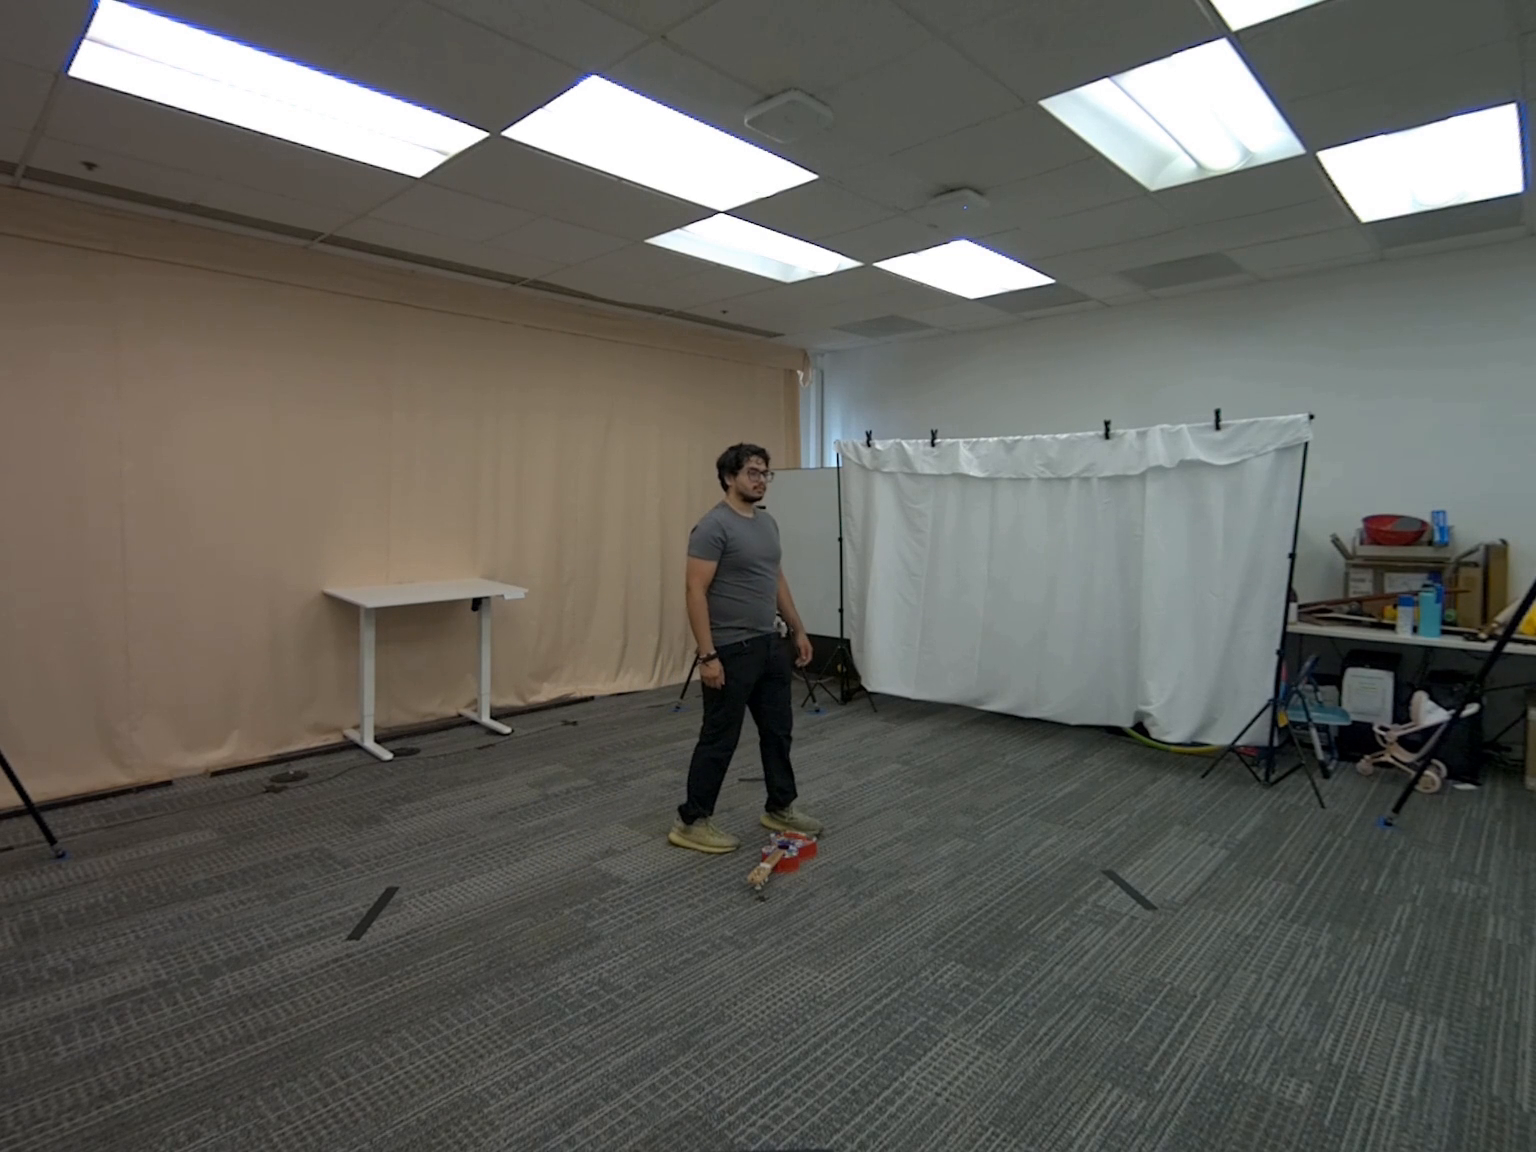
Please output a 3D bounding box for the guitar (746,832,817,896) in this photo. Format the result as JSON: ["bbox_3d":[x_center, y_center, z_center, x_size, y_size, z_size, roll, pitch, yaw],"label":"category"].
[{"bbox_3d":[0.010,1.084,3.234,0.199,0.070,0.484,3,5,30],"label":"guitar"}]
